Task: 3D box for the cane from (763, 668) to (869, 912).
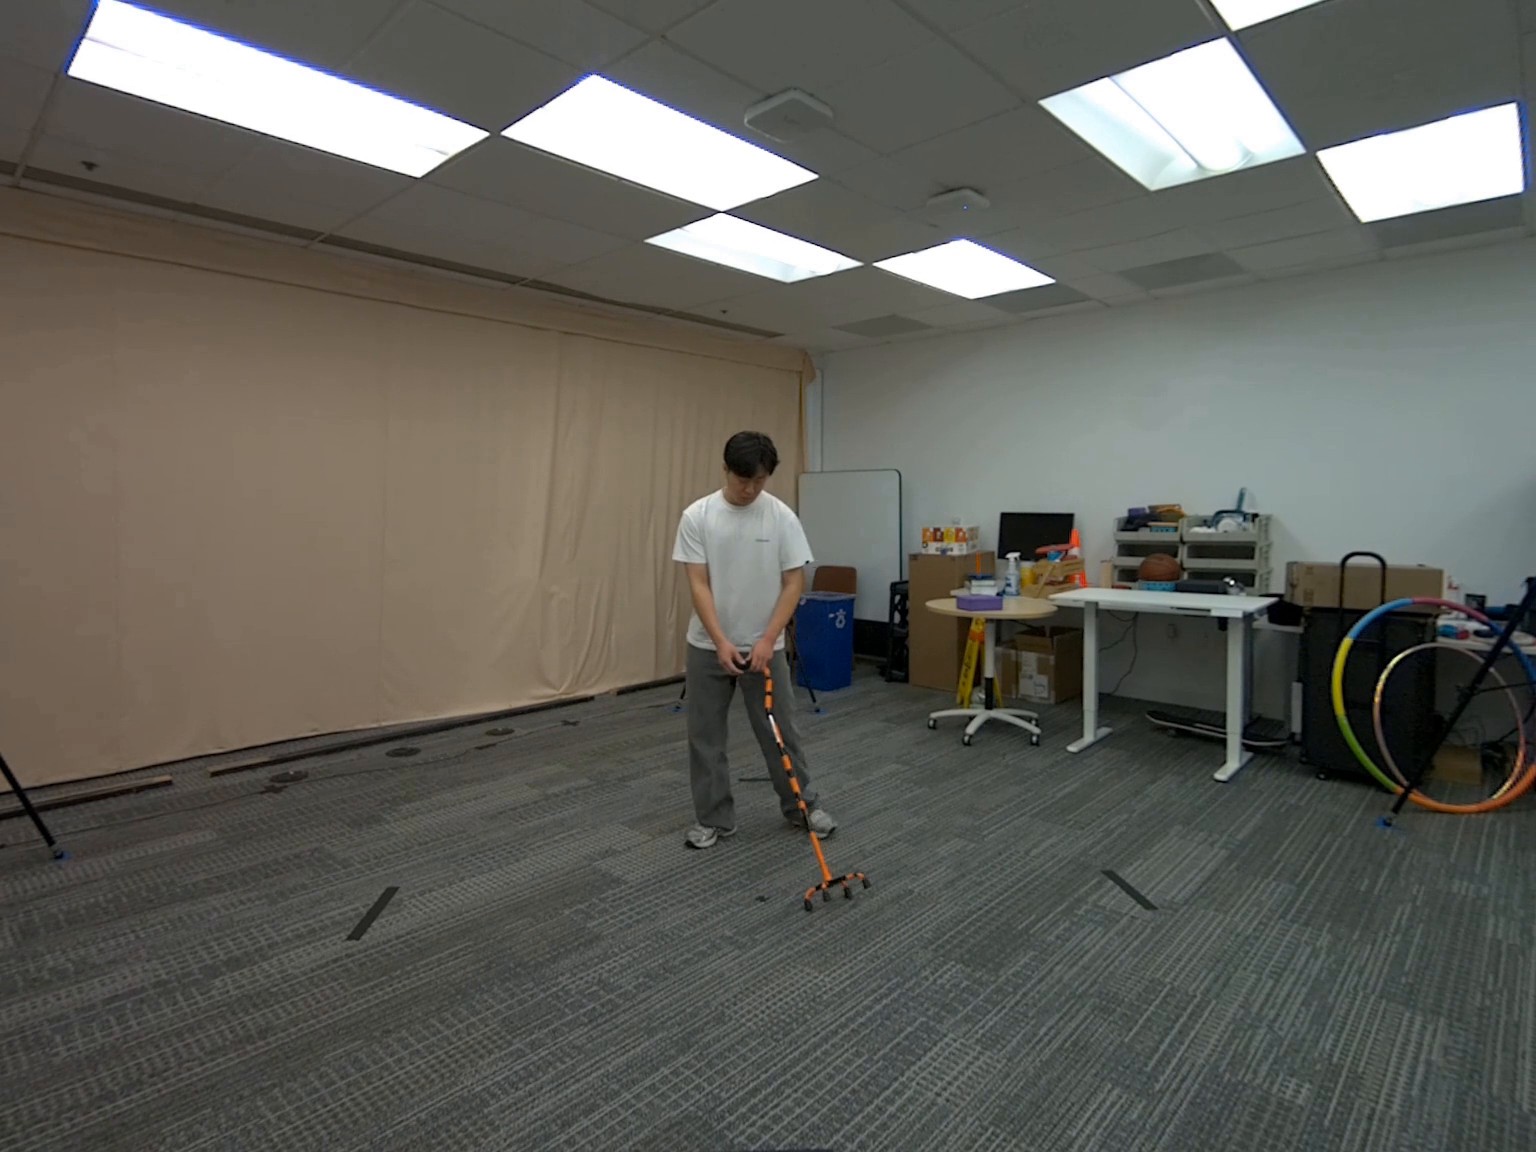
[{"bbox_3d":[0.106,0.718,3.088,0.201,0.928,0.152,-4,-30,-30],"label":"cane"}]
